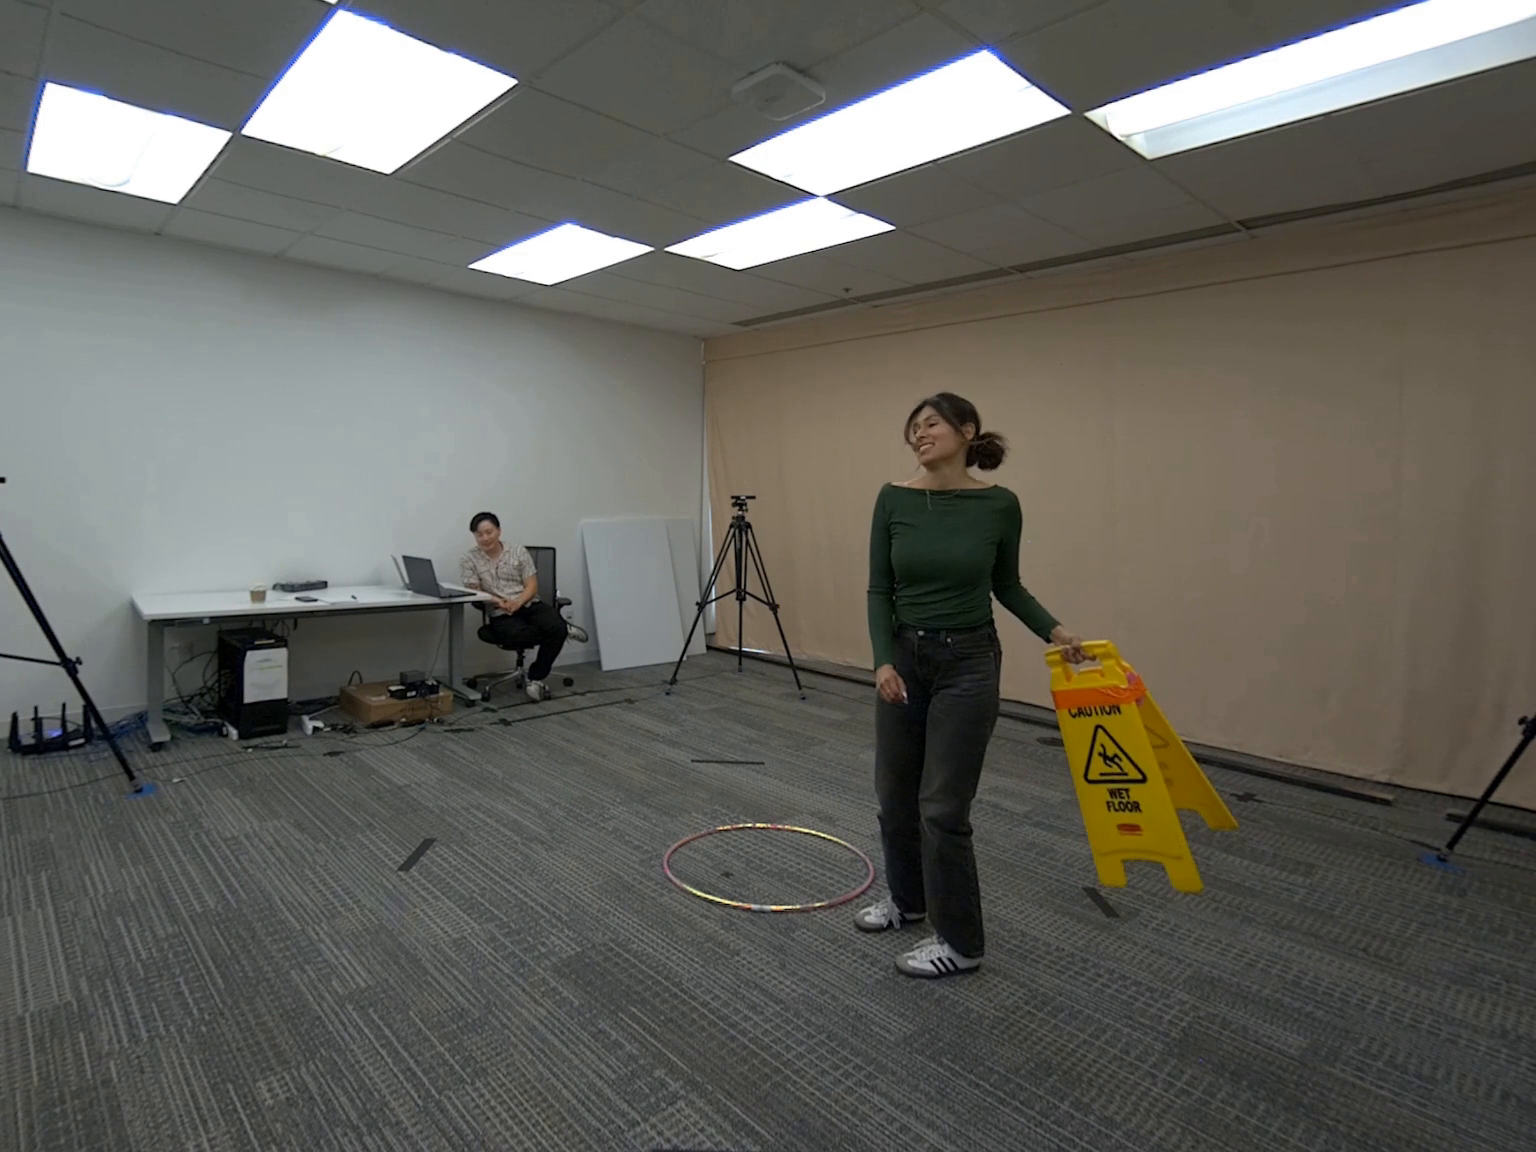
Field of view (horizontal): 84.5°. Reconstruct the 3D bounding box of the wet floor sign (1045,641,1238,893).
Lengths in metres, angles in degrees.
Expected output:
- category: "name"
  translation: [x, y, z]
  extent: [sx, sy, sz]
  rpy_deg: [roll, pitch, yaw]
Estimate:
- category: "wet floor sign"
  translation: [0.942, 0.483, 2.282]
  extent: [0.286, 0.645, 0.286]
  rpy_deg: [-27, 3, -39]
